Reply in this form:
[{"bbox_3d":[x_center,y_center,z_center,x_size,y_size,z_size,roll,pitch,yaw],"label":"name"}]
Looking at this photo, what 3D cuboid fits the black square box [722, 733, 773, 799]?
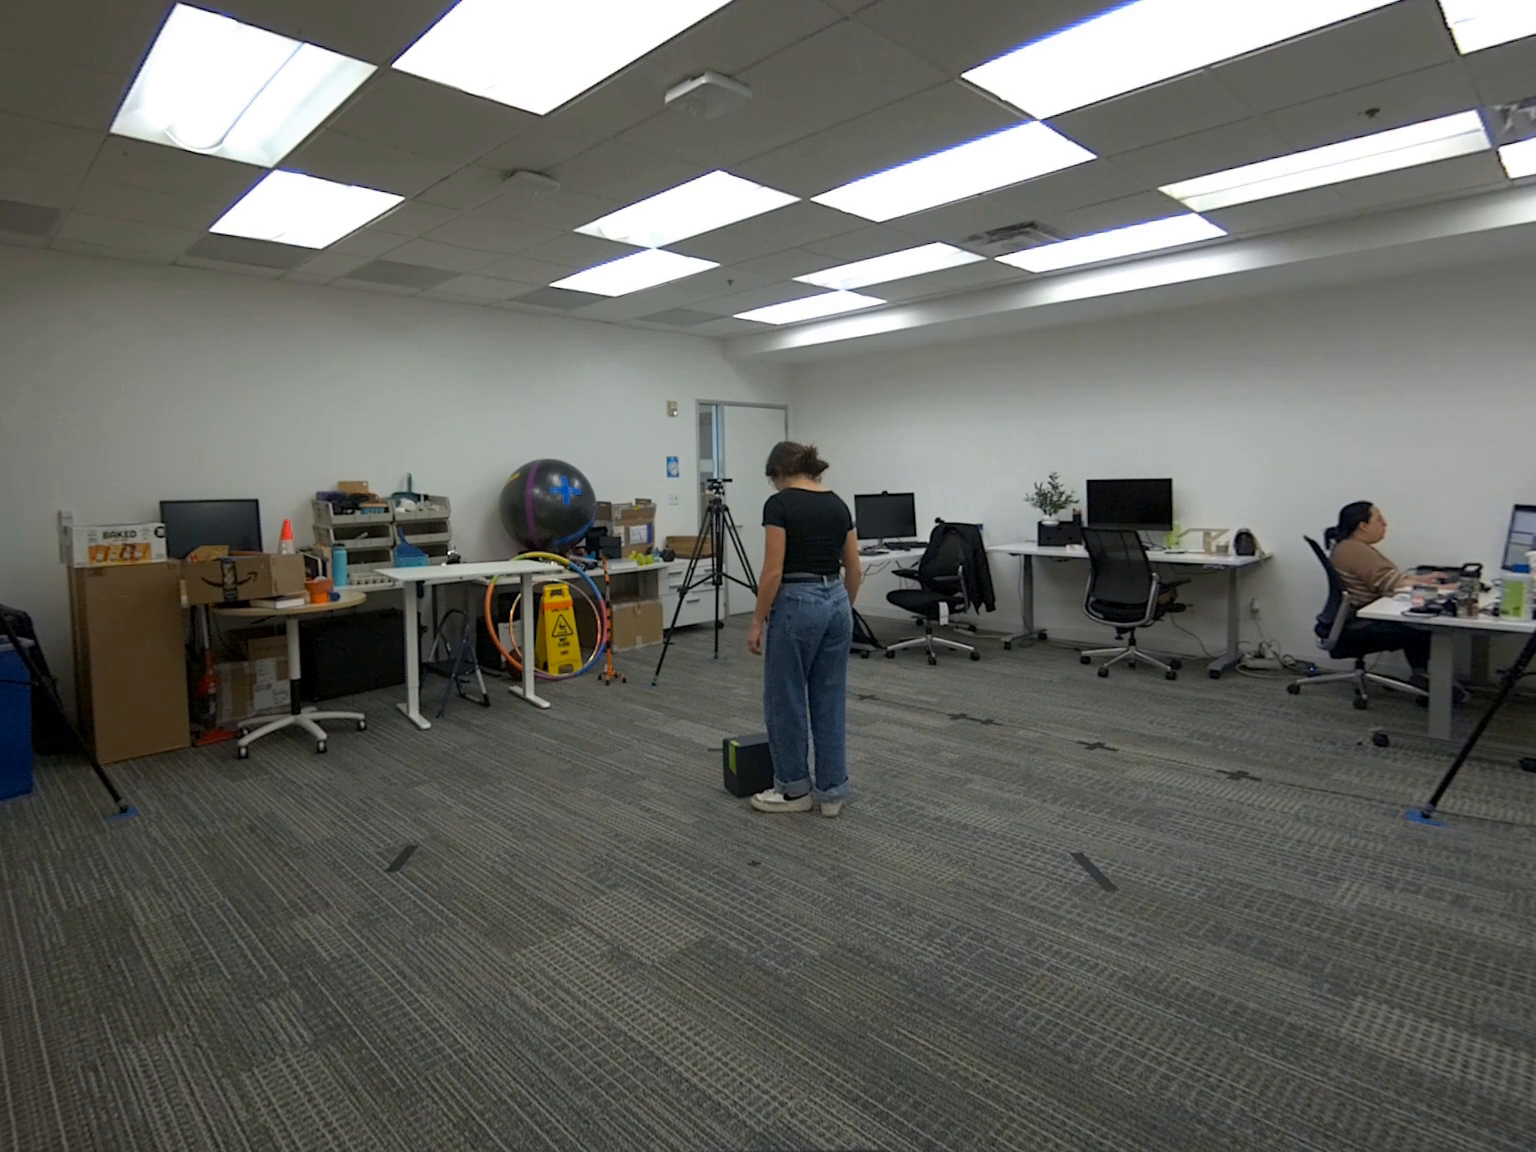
[{"bbox_3d":[-0.072,0.842,3.845,0.213,0.227,0.159,-4,4,-24],"label":"black square box"}]
